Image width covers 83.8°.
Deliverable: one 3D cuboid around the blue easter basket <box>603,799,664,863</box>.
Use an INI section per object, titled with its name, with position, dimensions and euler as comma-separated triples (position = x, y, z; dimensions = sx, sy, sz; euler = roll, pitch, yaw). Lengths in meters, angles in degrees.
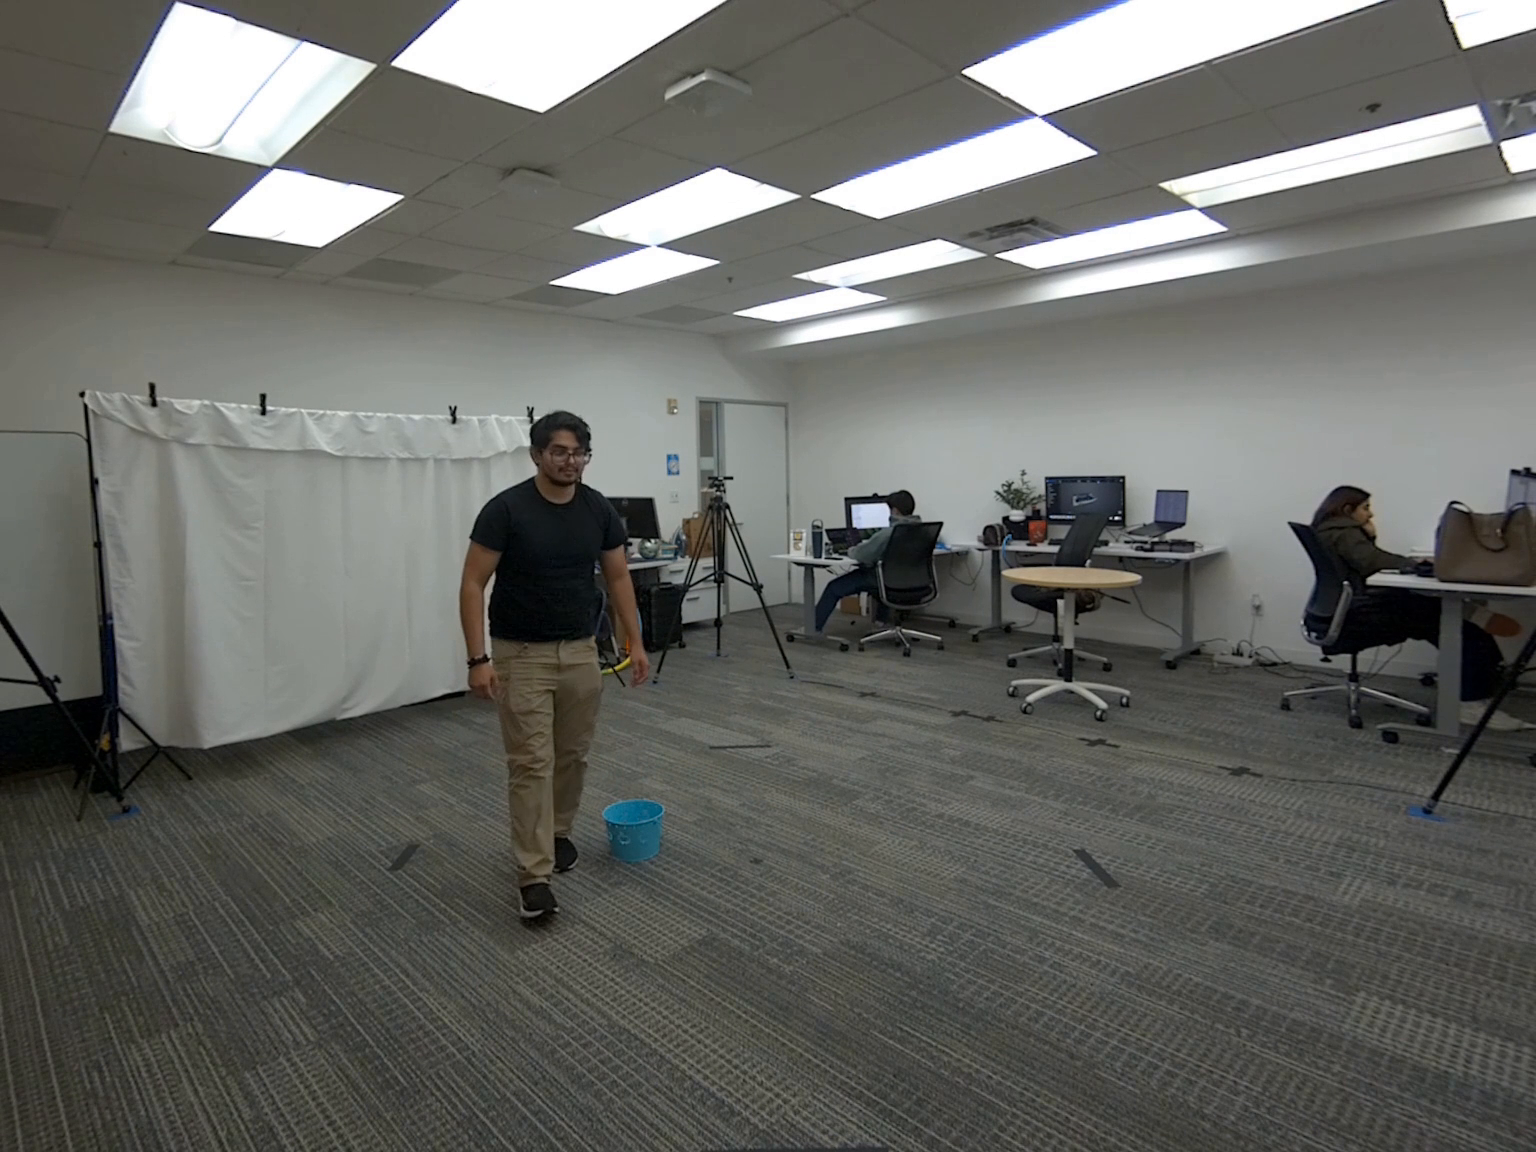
[blue easter basket]
position = -0.495, 0.955, 3.207
dimensions = 0.243, 0.155, 0.245
euler = -1, 6, -2
